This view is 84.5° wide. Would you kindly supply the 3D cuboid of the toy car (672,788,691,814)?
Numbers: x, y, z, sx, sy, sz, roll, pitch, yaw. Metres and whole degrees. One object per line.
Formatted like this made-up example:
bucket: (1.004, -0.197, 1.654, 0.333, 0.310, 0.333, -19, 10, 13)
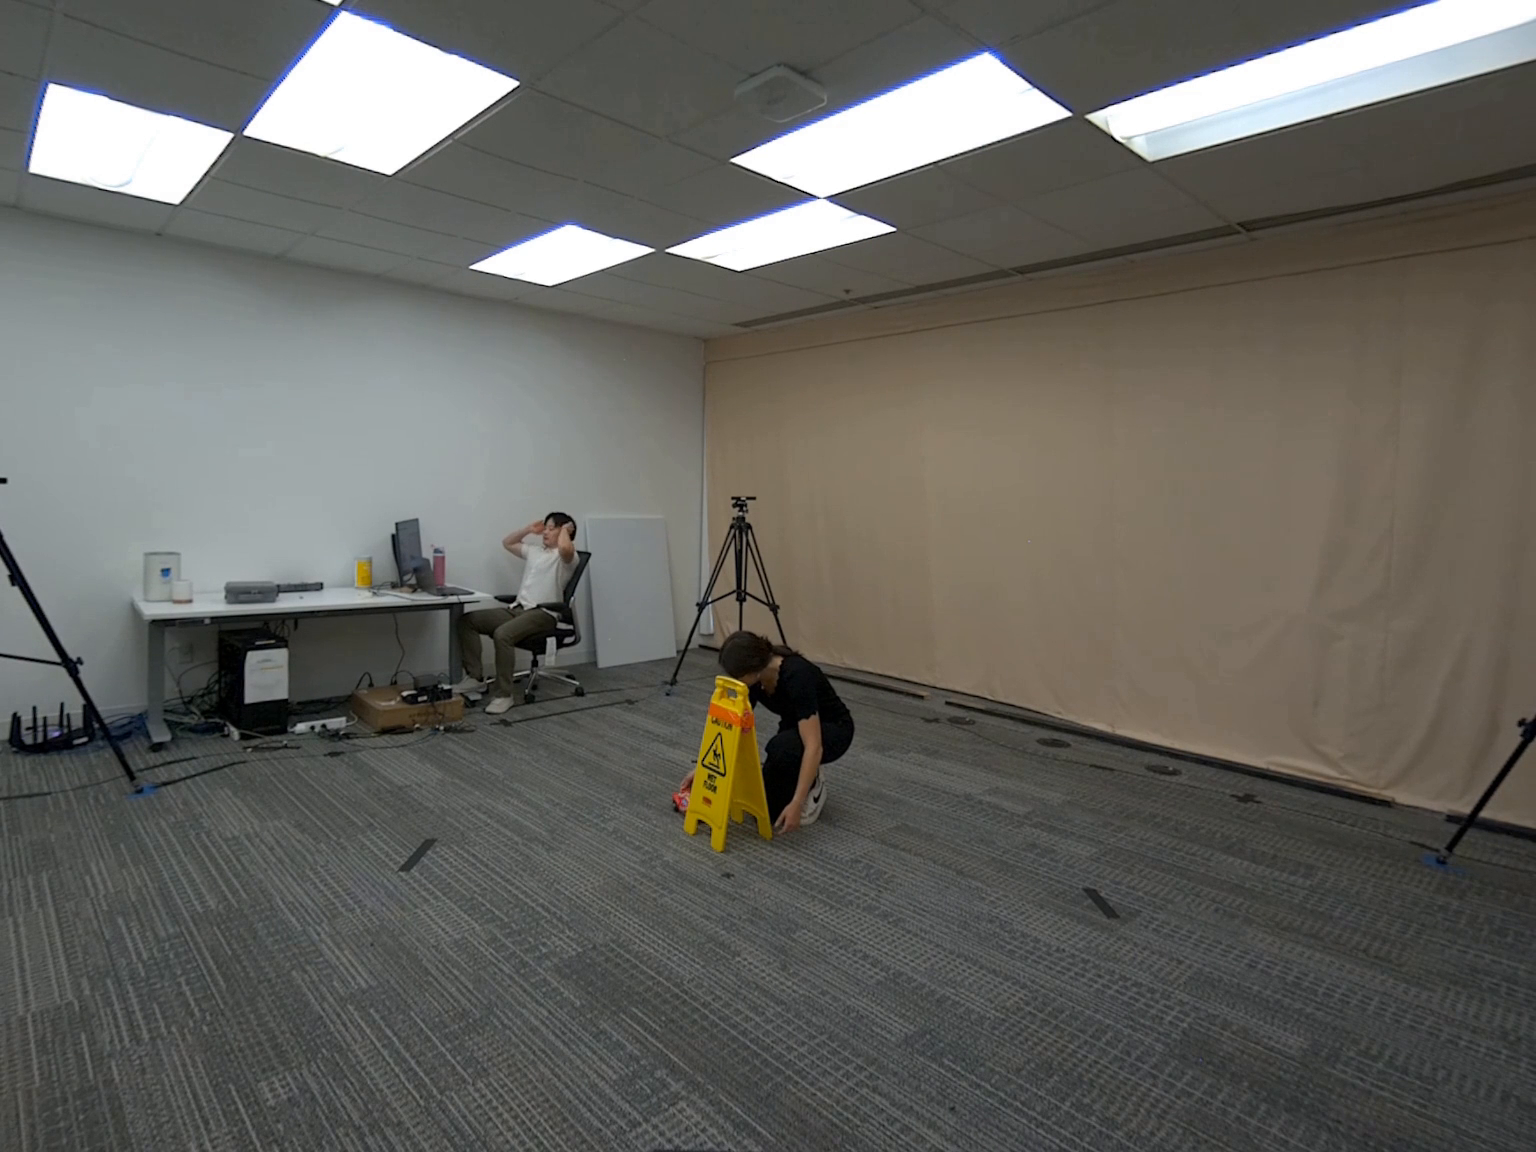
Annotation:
toy car: (-0.342, 1.011, 3.707, 0.128, 0.082, 0.262, -1, 18, -30)
